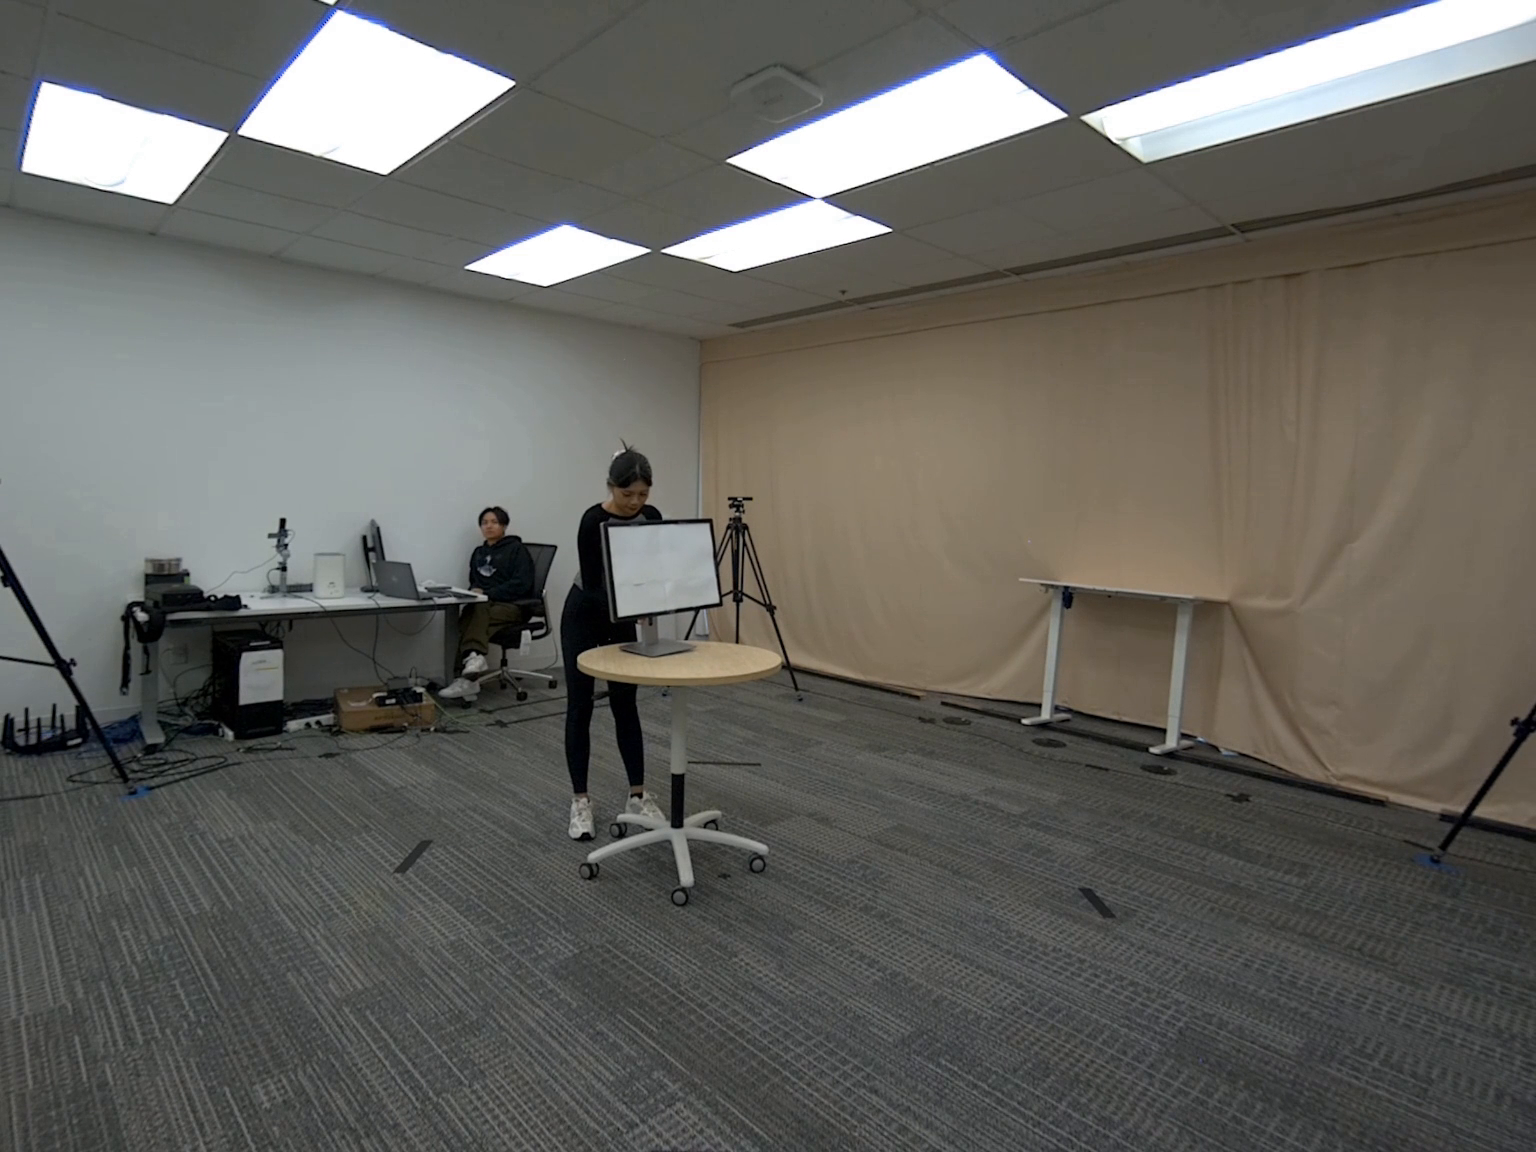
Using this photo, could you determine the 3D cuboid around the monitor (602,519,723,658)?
[{"bbox_3d":[-0.431,0.042,3.272,0.179,0.513,0.518,14,12,41],"label":"monitor"}]
